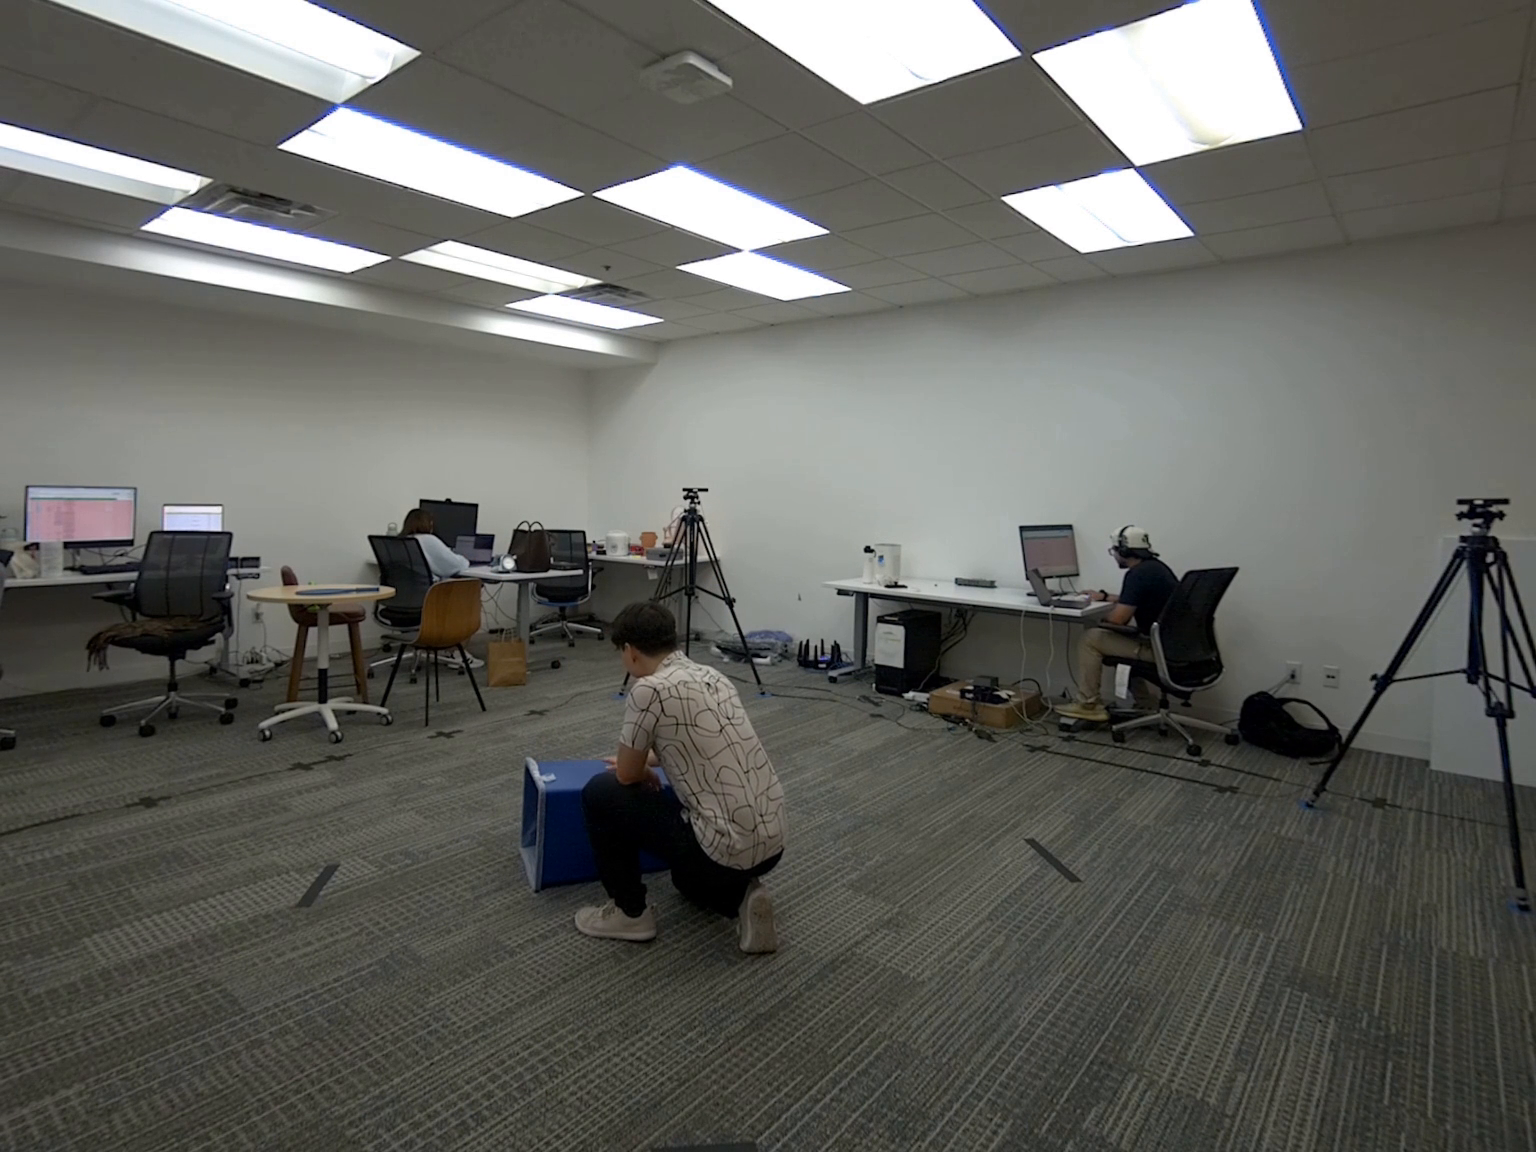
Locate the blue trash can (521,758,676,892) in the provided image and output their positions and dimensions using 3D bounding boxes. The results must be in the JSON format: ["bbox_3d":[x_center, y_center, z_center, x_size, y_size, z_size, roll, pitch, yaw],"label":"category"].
[{"bbox_3d":[-0.547,0.890,3.177,0.698,0.373,0.388,3,4,-22],"label":"blue trash can"}]
